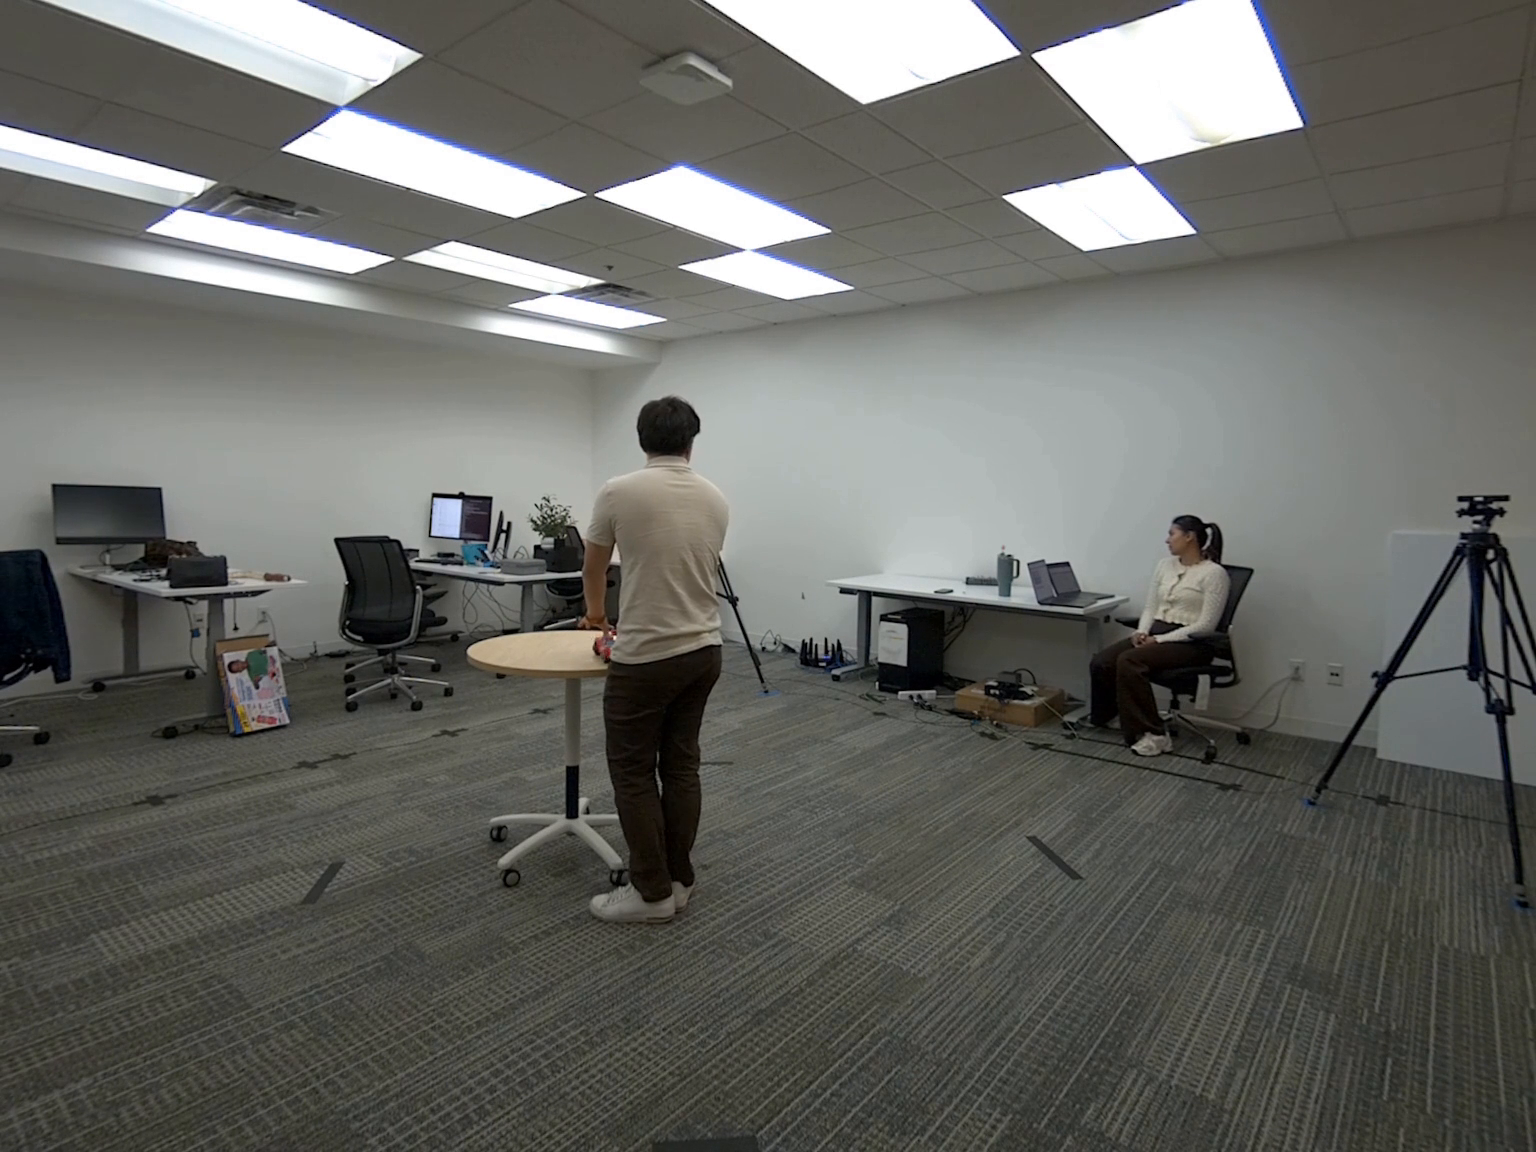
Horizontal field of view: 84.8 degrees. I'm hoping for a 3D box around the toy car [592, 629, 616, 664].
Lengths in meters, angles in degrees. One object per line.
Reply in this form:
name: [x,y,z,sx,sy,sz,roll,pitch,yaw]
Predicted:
toy car: [-0.566,0.253,3.039,0.128,0.082,0.263,0,18,-18]
